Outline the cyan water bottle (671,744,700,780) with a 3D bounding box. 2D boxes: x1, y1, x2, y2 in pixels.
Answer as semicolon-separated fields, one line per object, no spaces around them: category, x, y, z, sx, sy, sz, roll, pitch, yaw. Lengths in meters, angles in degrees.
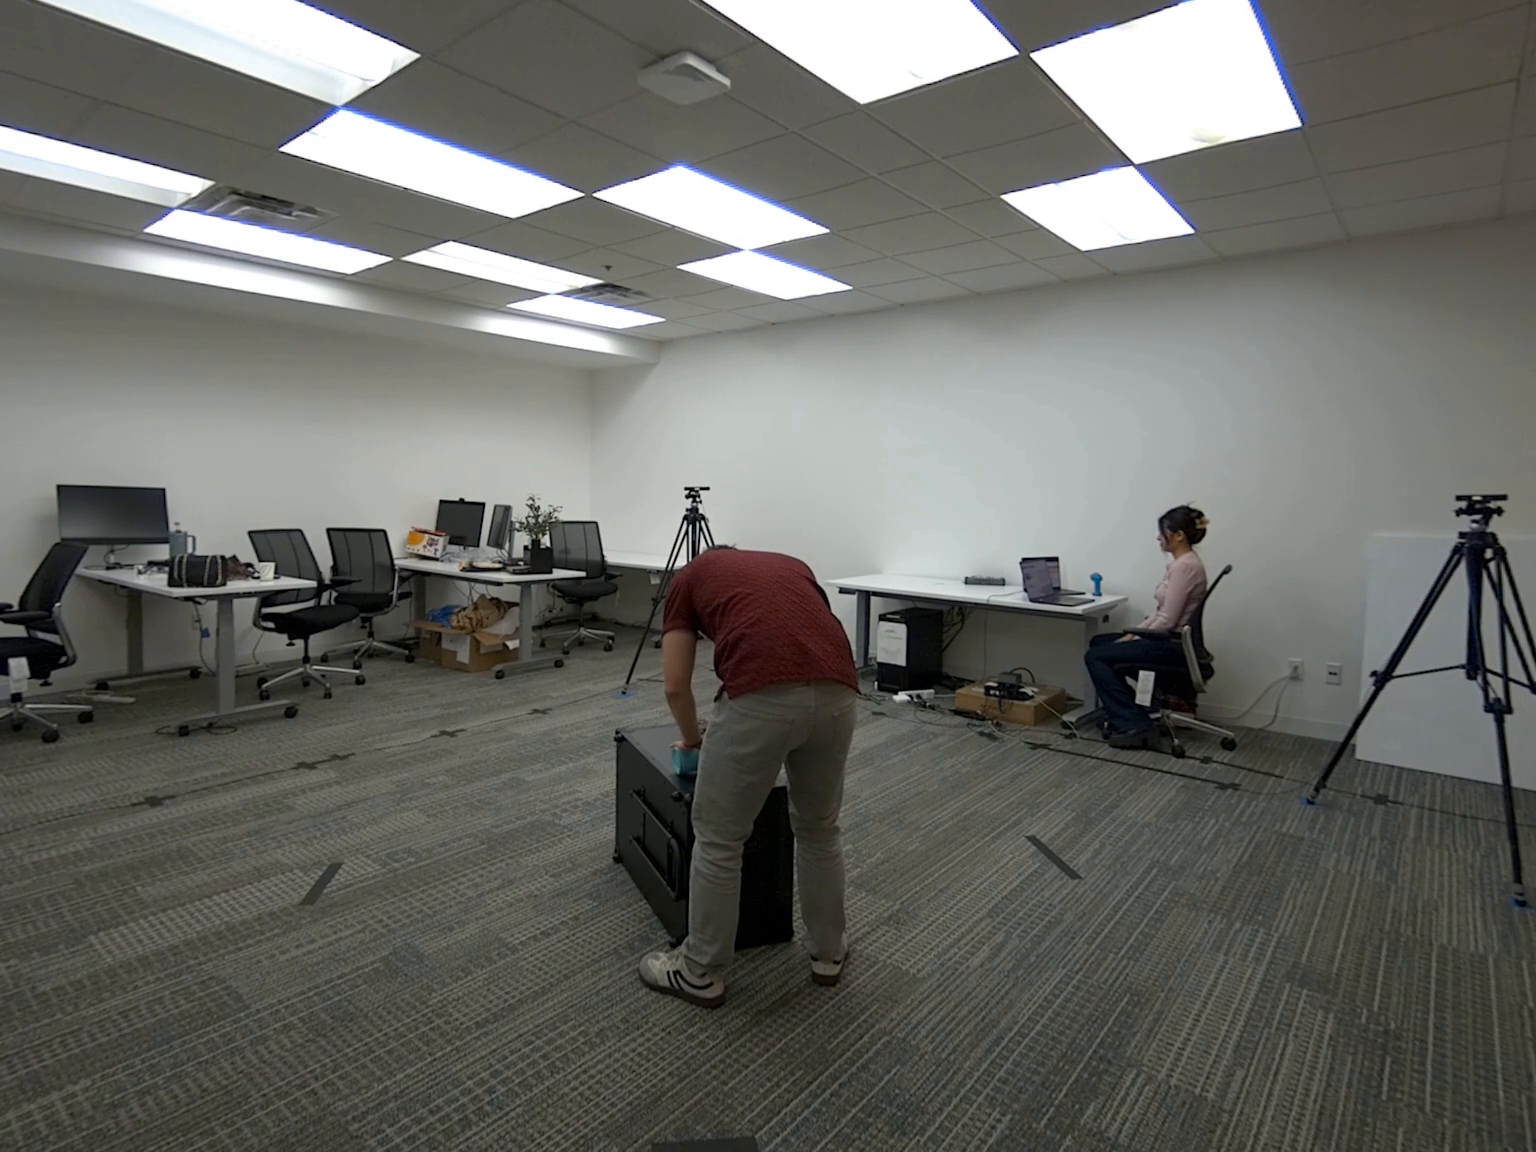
cyan water bottle;-0.180;0.560;2.729;0.278;0.092;0.095;-6;6;-22
